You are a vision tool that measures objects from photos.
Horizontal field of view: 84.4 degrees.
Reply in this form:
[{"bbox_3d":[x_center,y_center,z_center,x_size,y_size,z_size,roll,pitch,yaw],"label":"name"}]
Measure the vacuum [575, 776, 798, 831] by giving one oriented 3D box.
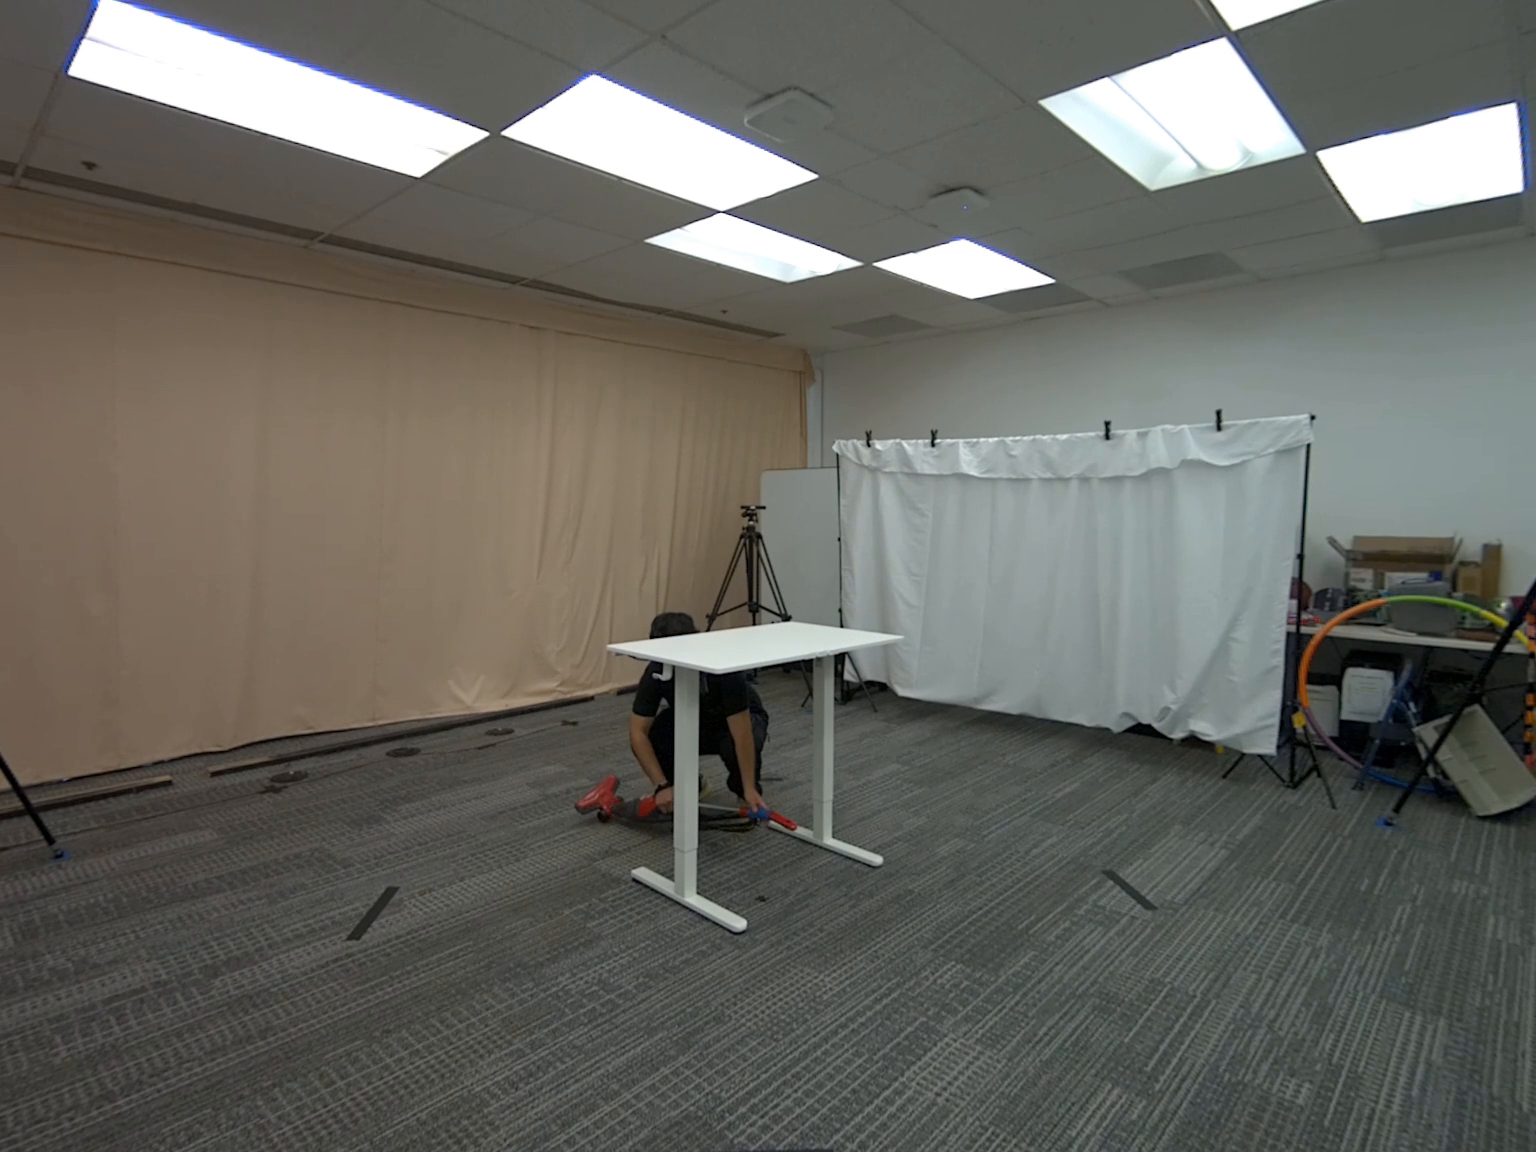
[{"bbox_3d":[-0.325,0.969,3.419,1.081,0.142,0.248,-4,19,39],"label":"vacuum"}]
